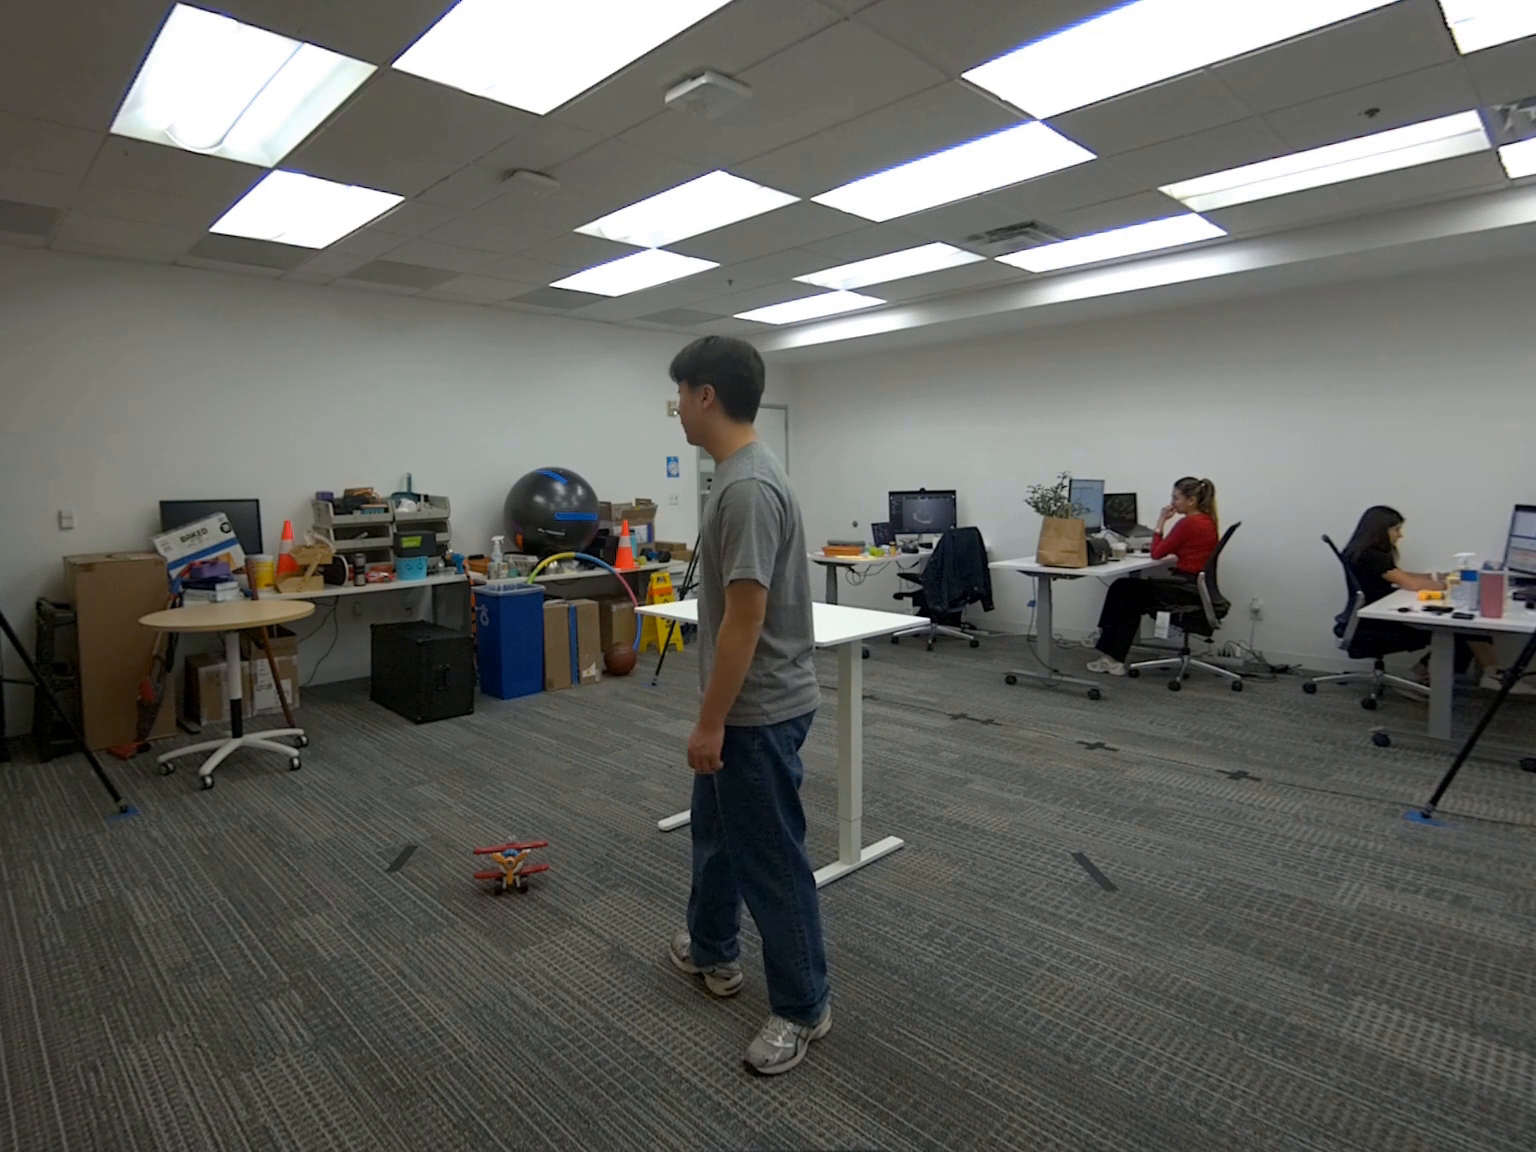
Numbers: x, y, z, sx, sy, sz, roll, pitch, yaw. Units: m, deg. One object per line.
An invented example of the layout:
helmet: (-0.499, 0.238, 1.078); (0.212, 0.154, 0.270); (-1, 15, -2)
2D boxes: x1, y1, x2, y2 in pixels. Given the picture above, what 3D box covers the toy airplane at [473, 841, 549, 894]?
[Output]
toy airplane: (-0.917, 1.002, 2.996); (0.244, 0.156, 0.267); (-6, 8, -42)
